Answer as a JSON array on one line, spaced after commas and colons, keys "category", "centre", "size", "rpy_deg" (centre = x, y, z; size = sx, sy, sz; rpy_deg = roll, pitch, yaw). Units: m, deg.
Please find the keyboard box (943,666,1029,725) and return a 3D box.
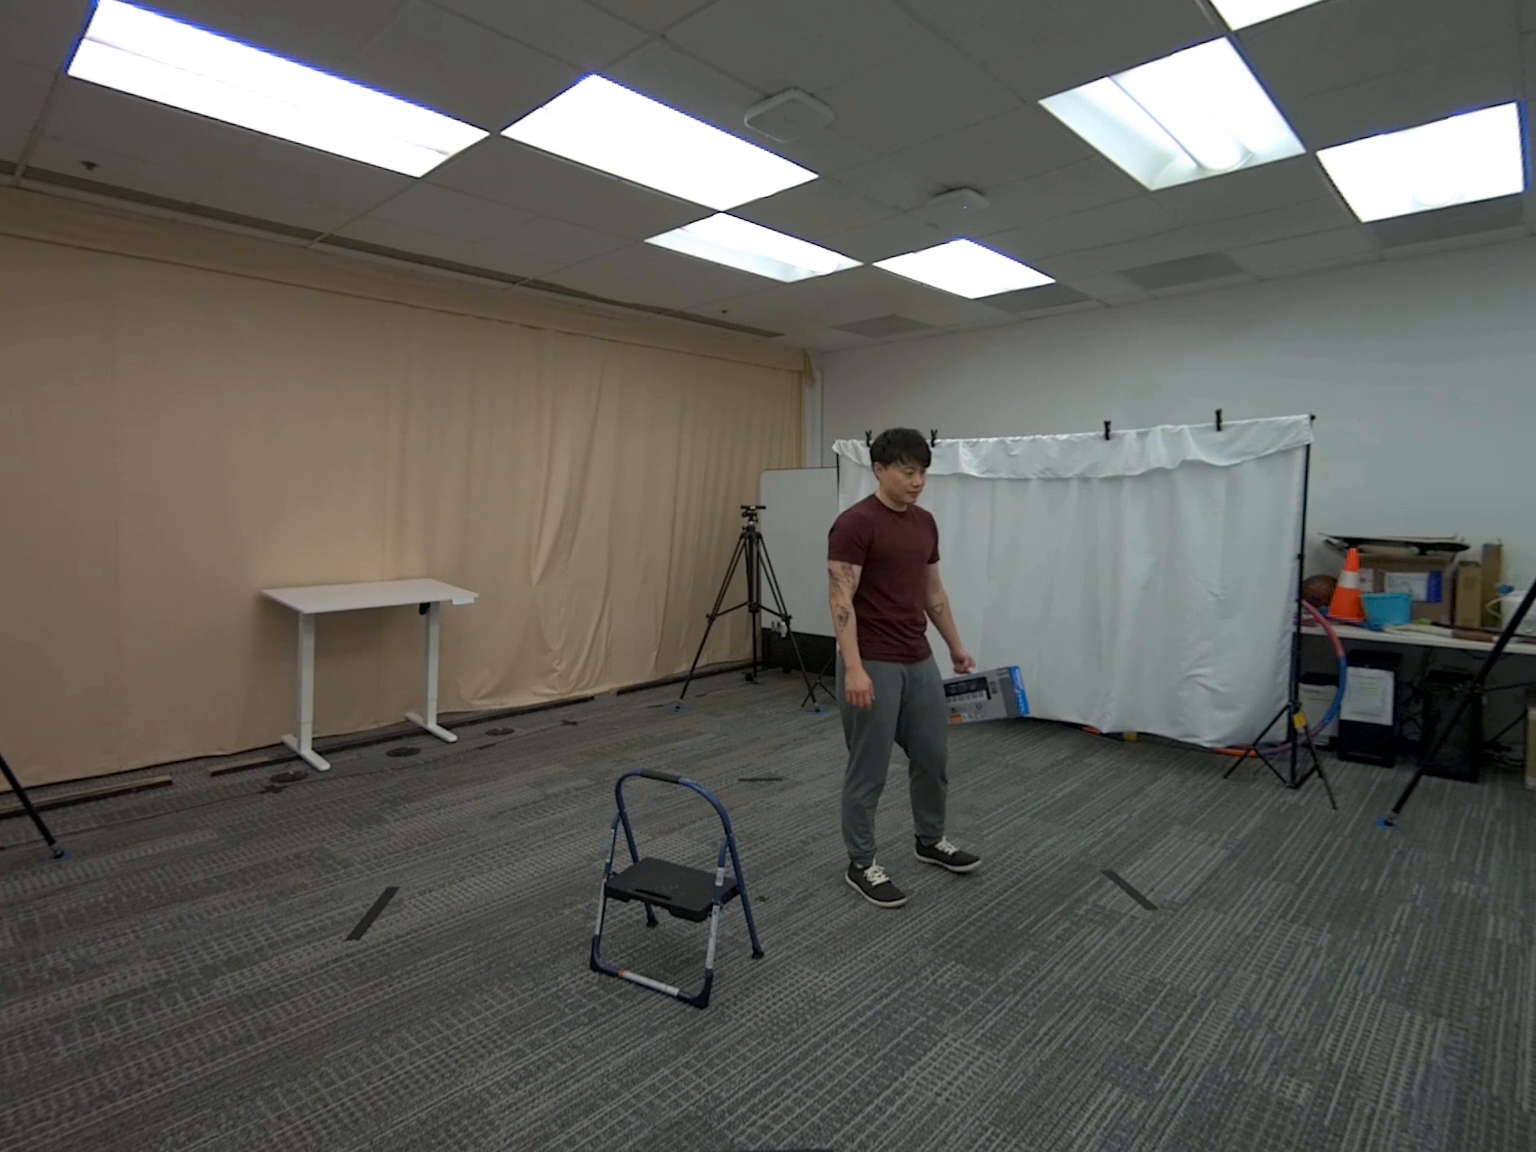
[{"category": "keyboard box", "centre": [0.752, 0.463, 3.147], "size": [0.057, 0.177, 0.446], "rpy_deg": [0, -14, -41]}]
